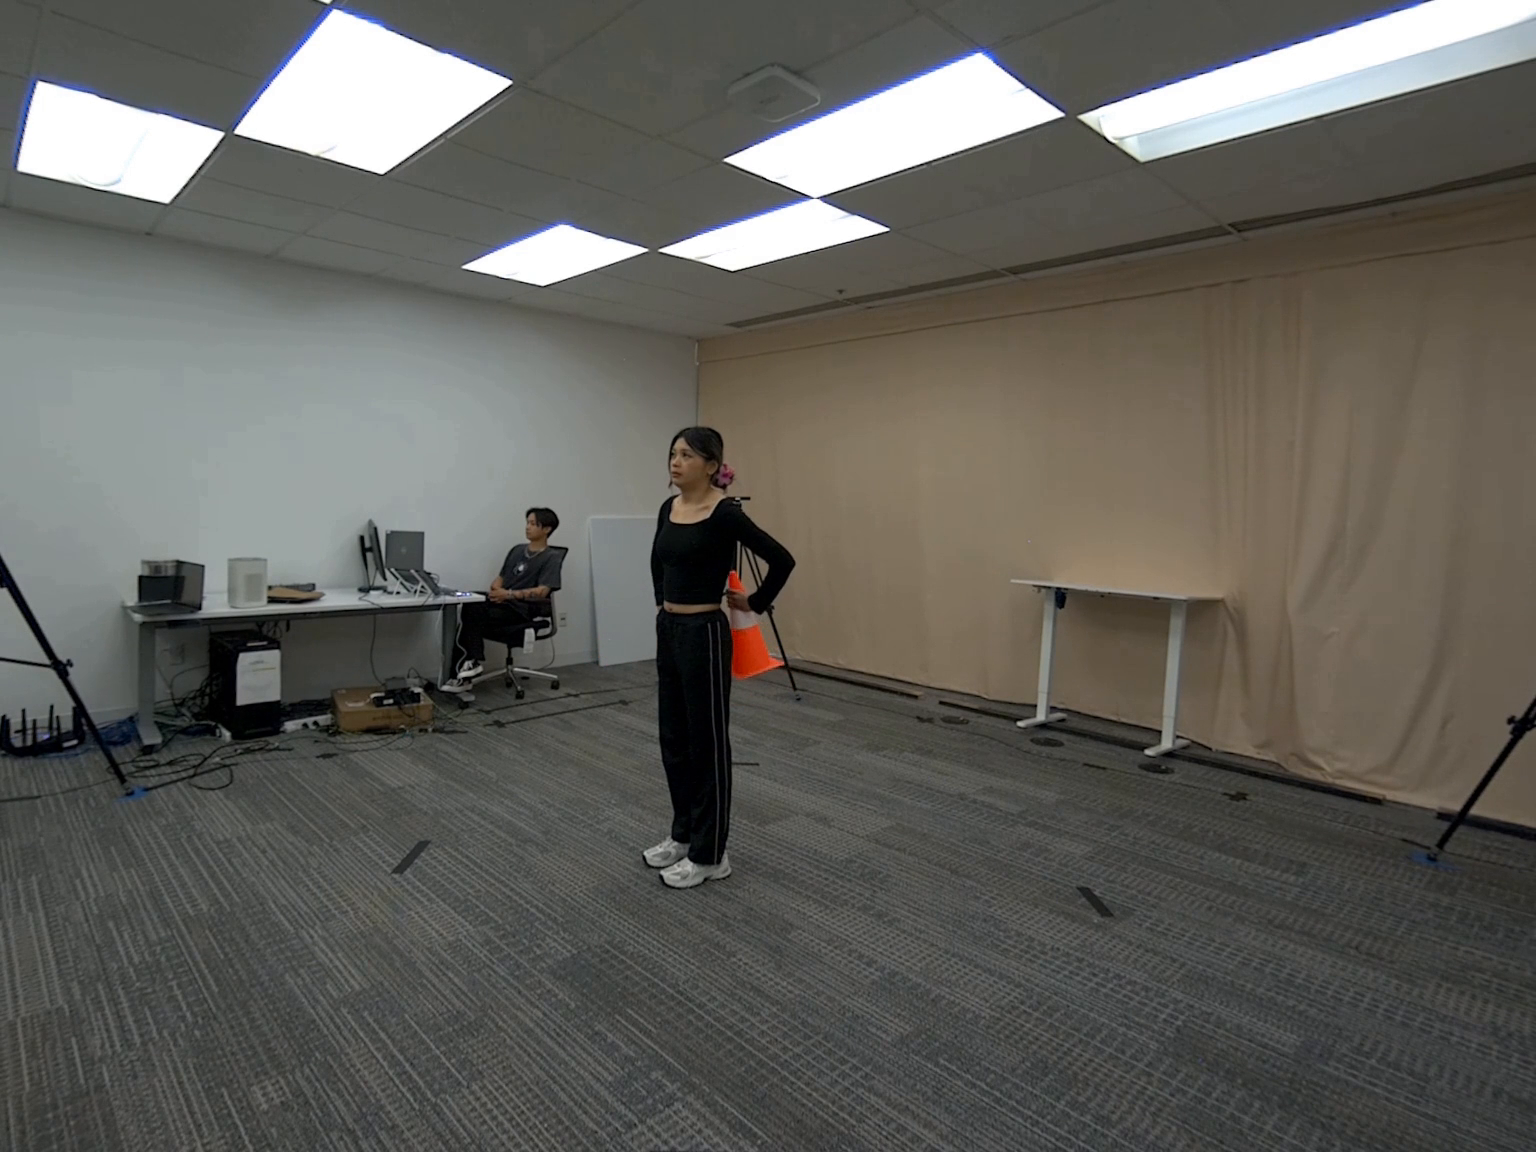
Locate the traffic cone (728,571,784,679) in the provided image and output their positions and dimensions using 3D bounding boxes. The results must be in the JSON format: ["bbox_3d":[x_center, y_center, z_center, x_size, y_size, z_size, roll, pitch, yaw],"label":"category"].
[{"bbox_3d":[-0.113,0.169,3.223,0.200,0.381,0.210,-15,10,-36],"label":"traffic cone"}]
